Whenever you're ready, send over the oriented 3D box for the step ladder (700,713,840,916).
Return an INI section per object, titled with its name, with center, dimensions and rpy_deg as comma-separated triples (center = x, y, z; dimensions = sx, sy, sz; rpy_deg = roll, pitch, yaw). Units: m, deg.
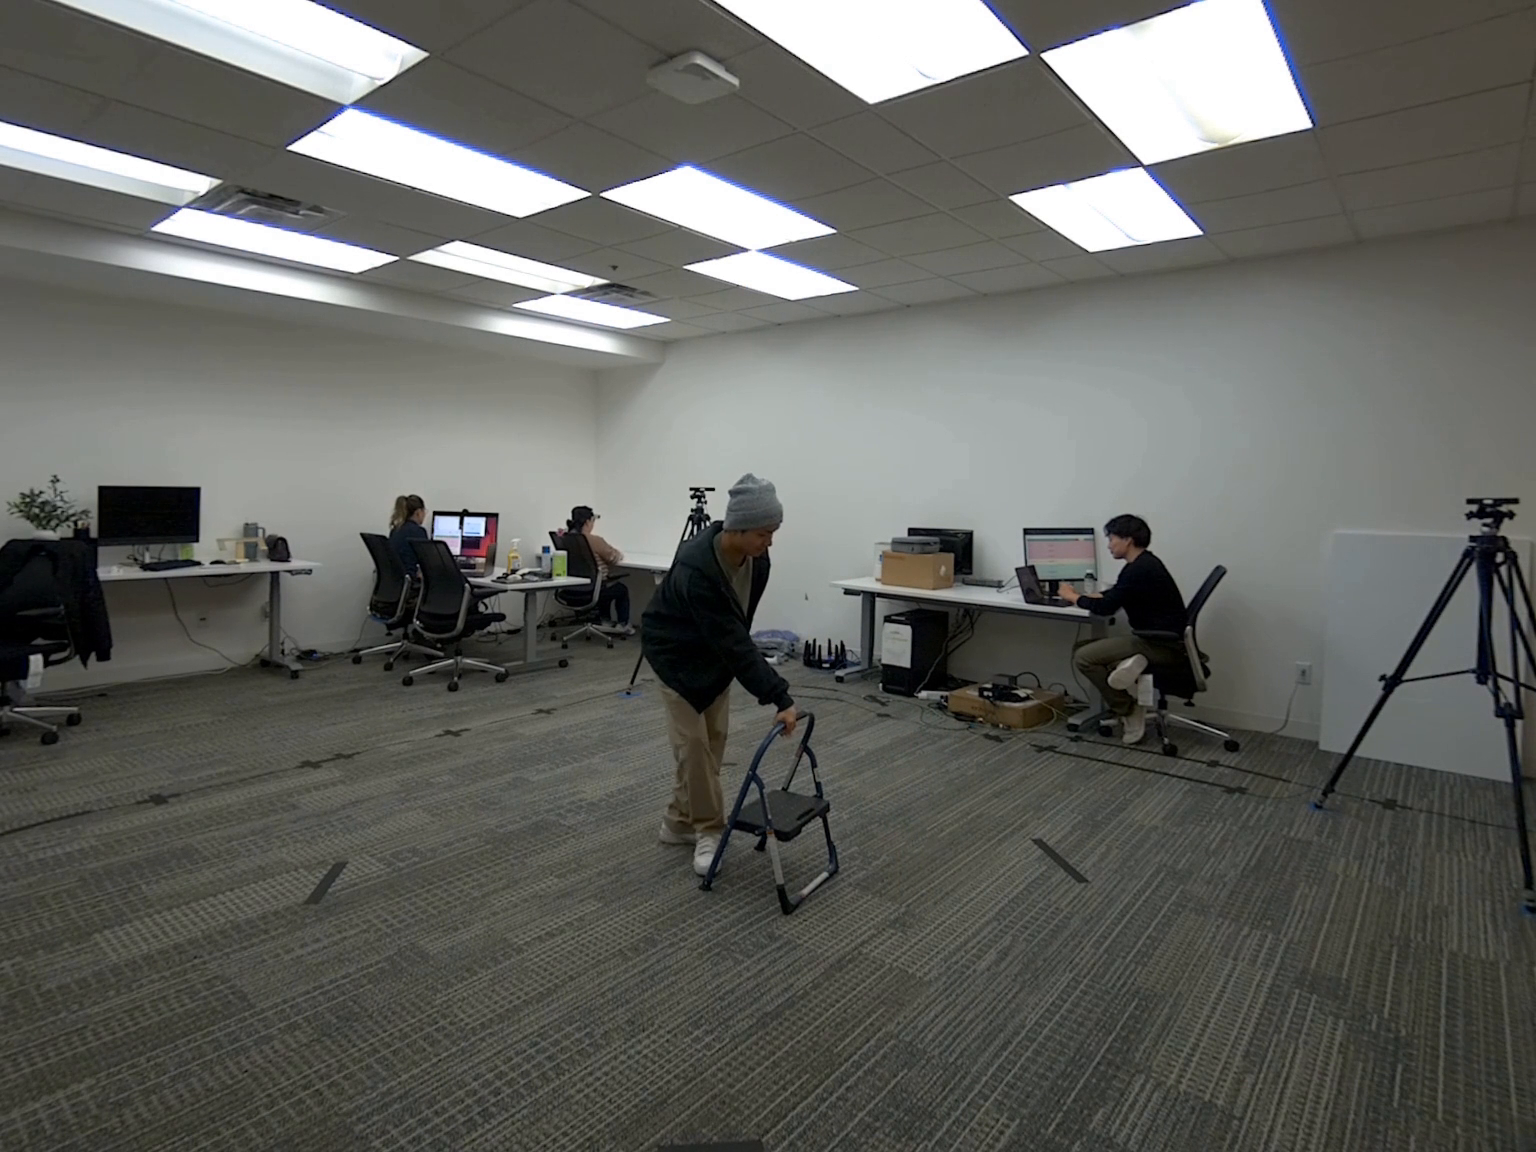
[step ladder]
center = 0.017, 0.777, 3.017
dimensions = 0.359, 0.604, 0.419
rpy_deg = 3, 4, 29
